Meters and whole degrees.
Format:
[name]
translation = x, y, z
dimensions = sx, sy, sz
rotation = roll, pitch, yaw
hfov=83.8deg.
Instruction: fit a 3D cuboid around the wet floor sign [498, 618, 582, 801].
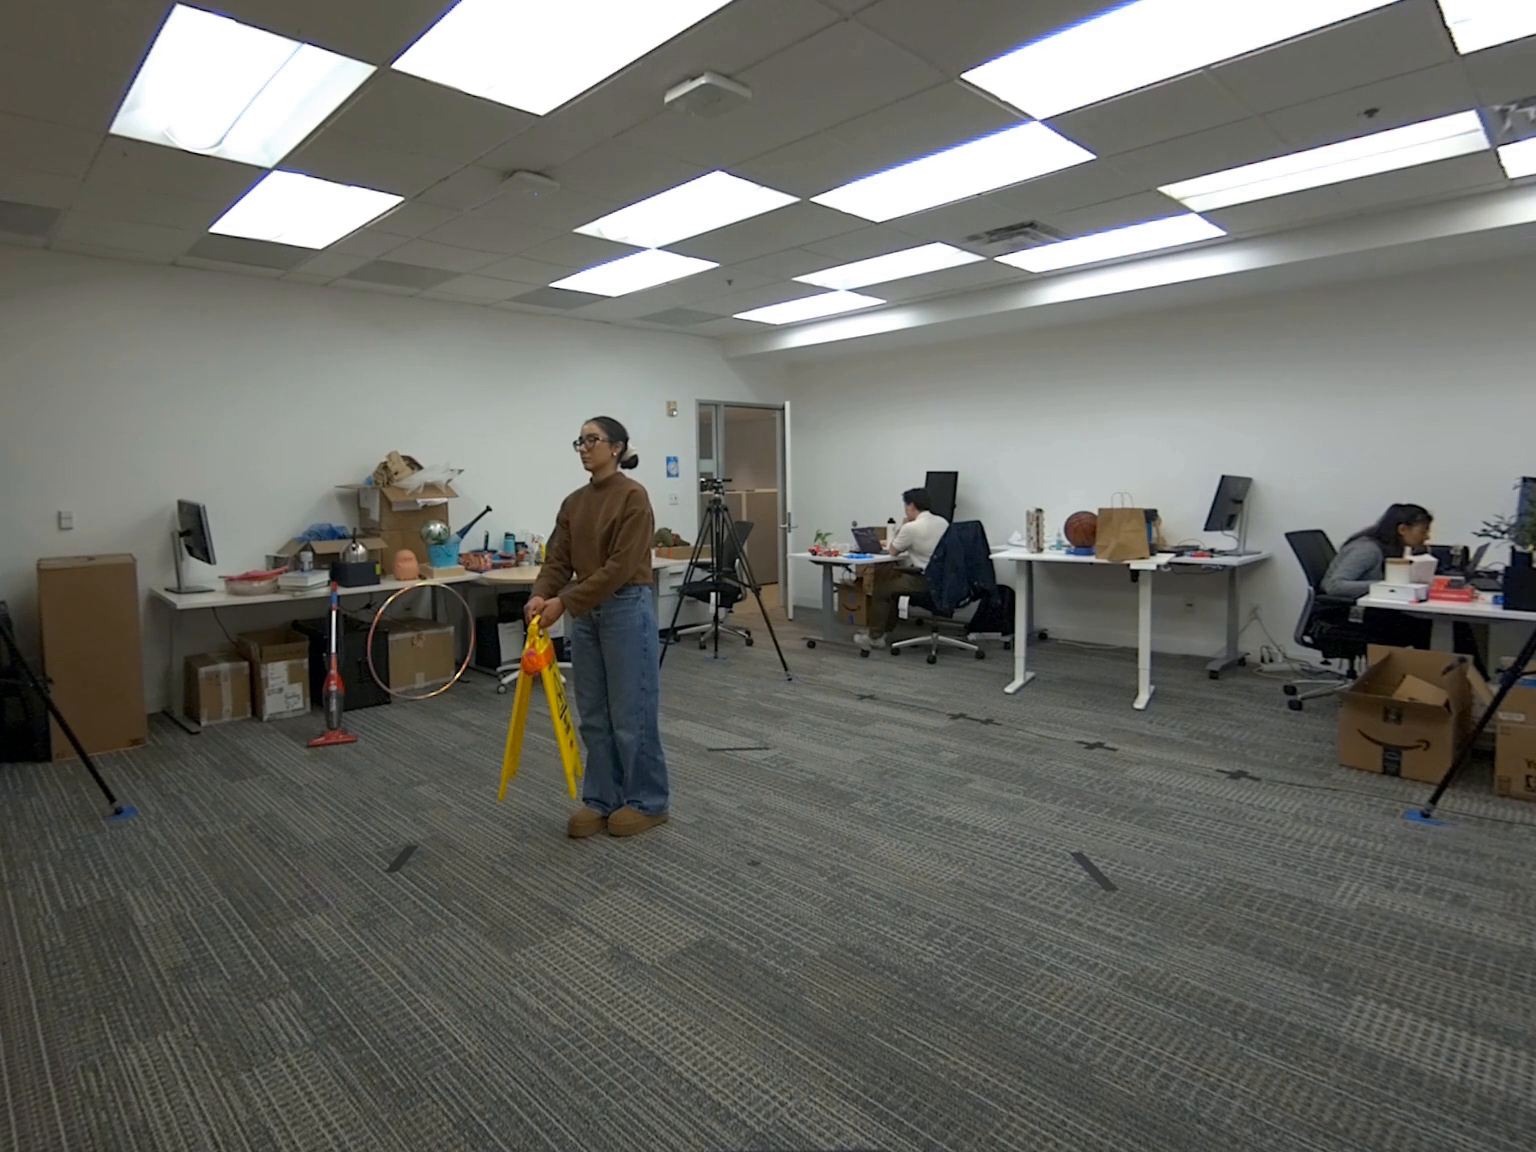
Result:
[wet floor sign]
translation = -0.847, 0.474, 3.169
dimensions = 0.289, 0.642, 0.285
rotation = 0, 7, -3
